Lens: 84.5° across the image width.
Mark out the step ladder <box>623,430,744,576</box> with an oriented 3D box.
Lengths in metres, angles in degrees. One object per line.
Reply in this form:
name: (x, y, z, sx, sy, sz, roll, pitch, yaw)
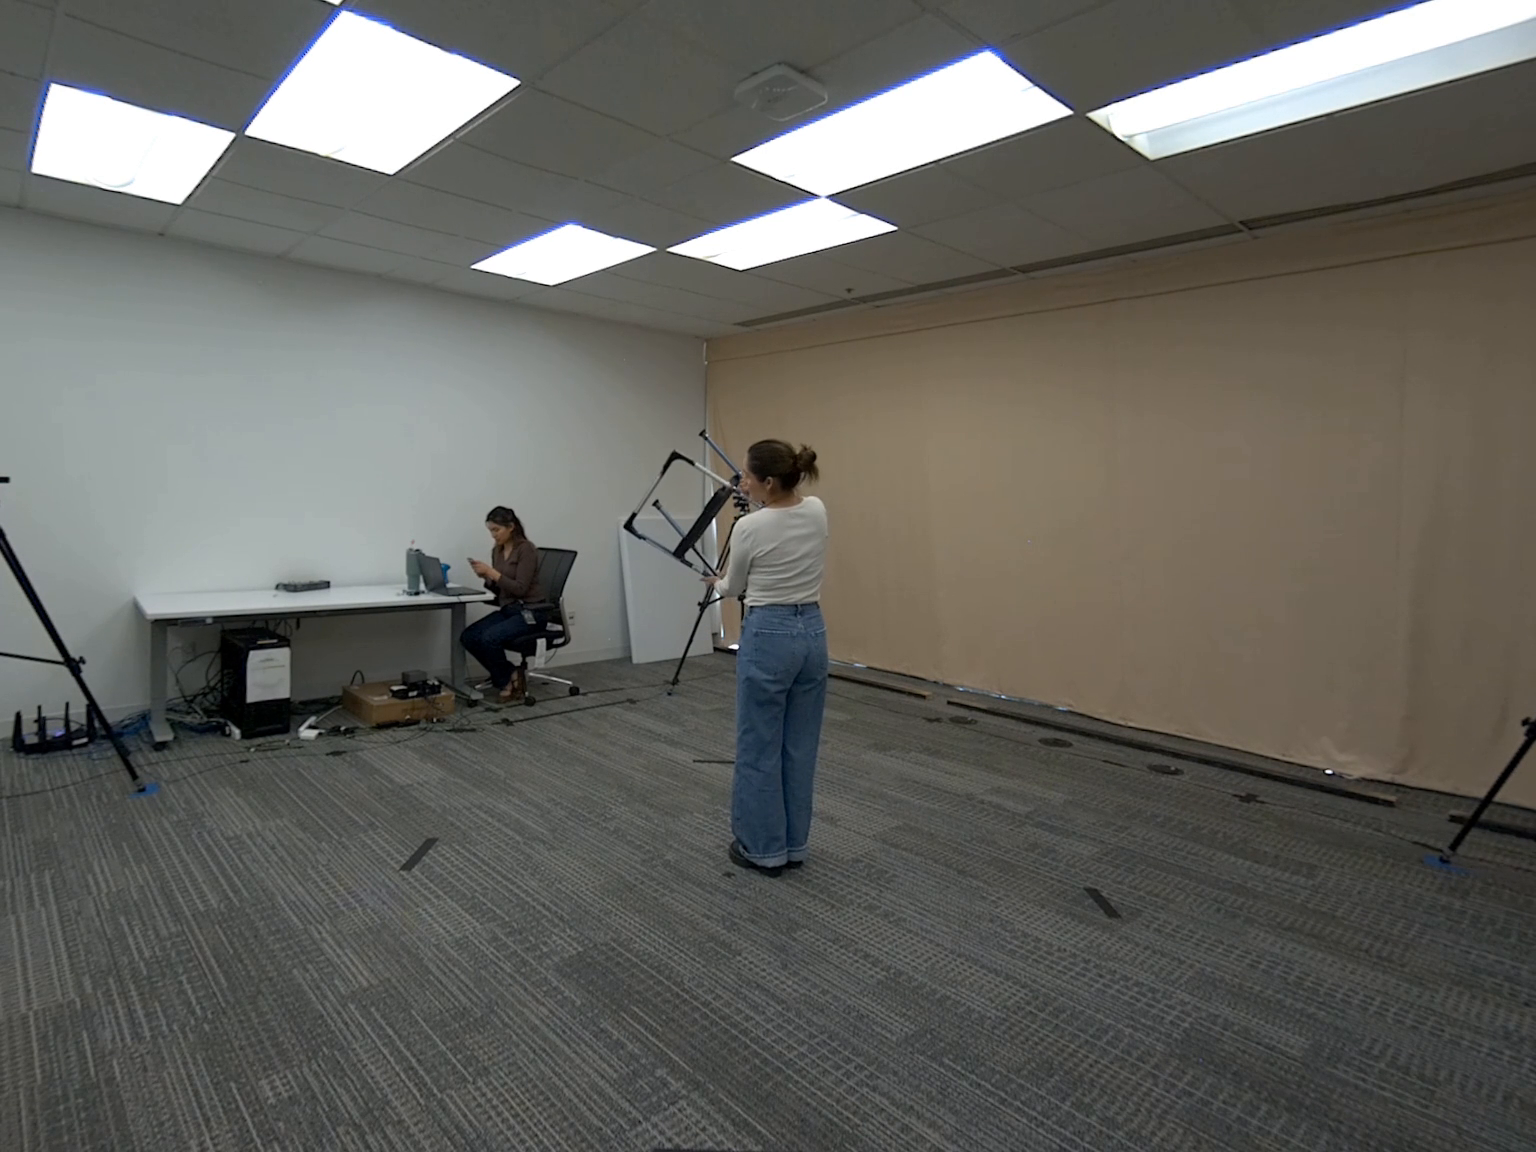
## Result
step ladder: (-0.202, -0.209, 3.433, 0.608, 0.429, 0.349, 38, 29, 2)
